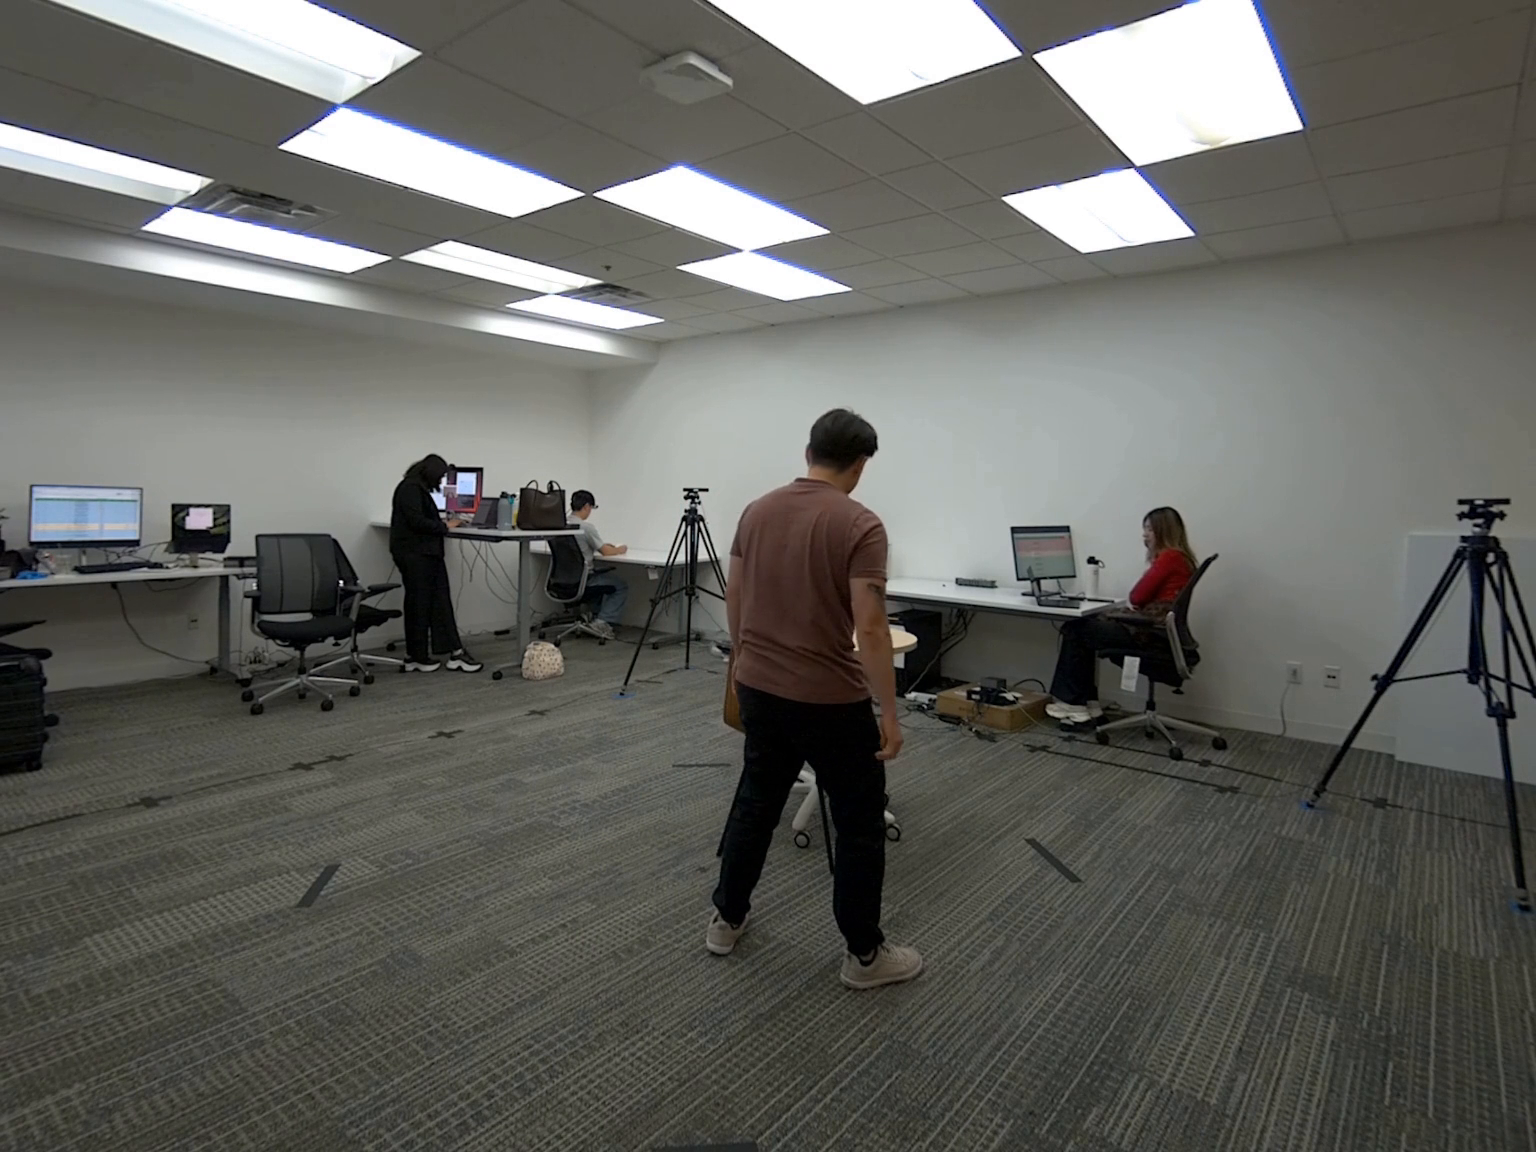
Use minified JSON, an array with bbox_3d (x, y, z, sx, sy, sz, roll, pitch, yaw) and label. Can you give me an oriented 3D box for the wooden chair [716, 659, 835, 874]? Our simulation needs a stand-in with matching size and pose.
[{"bbox_3d":[0.072,0.625,3.339,0.487,0.872,0.517,2,7,17],"label":"wooden chair"}]
